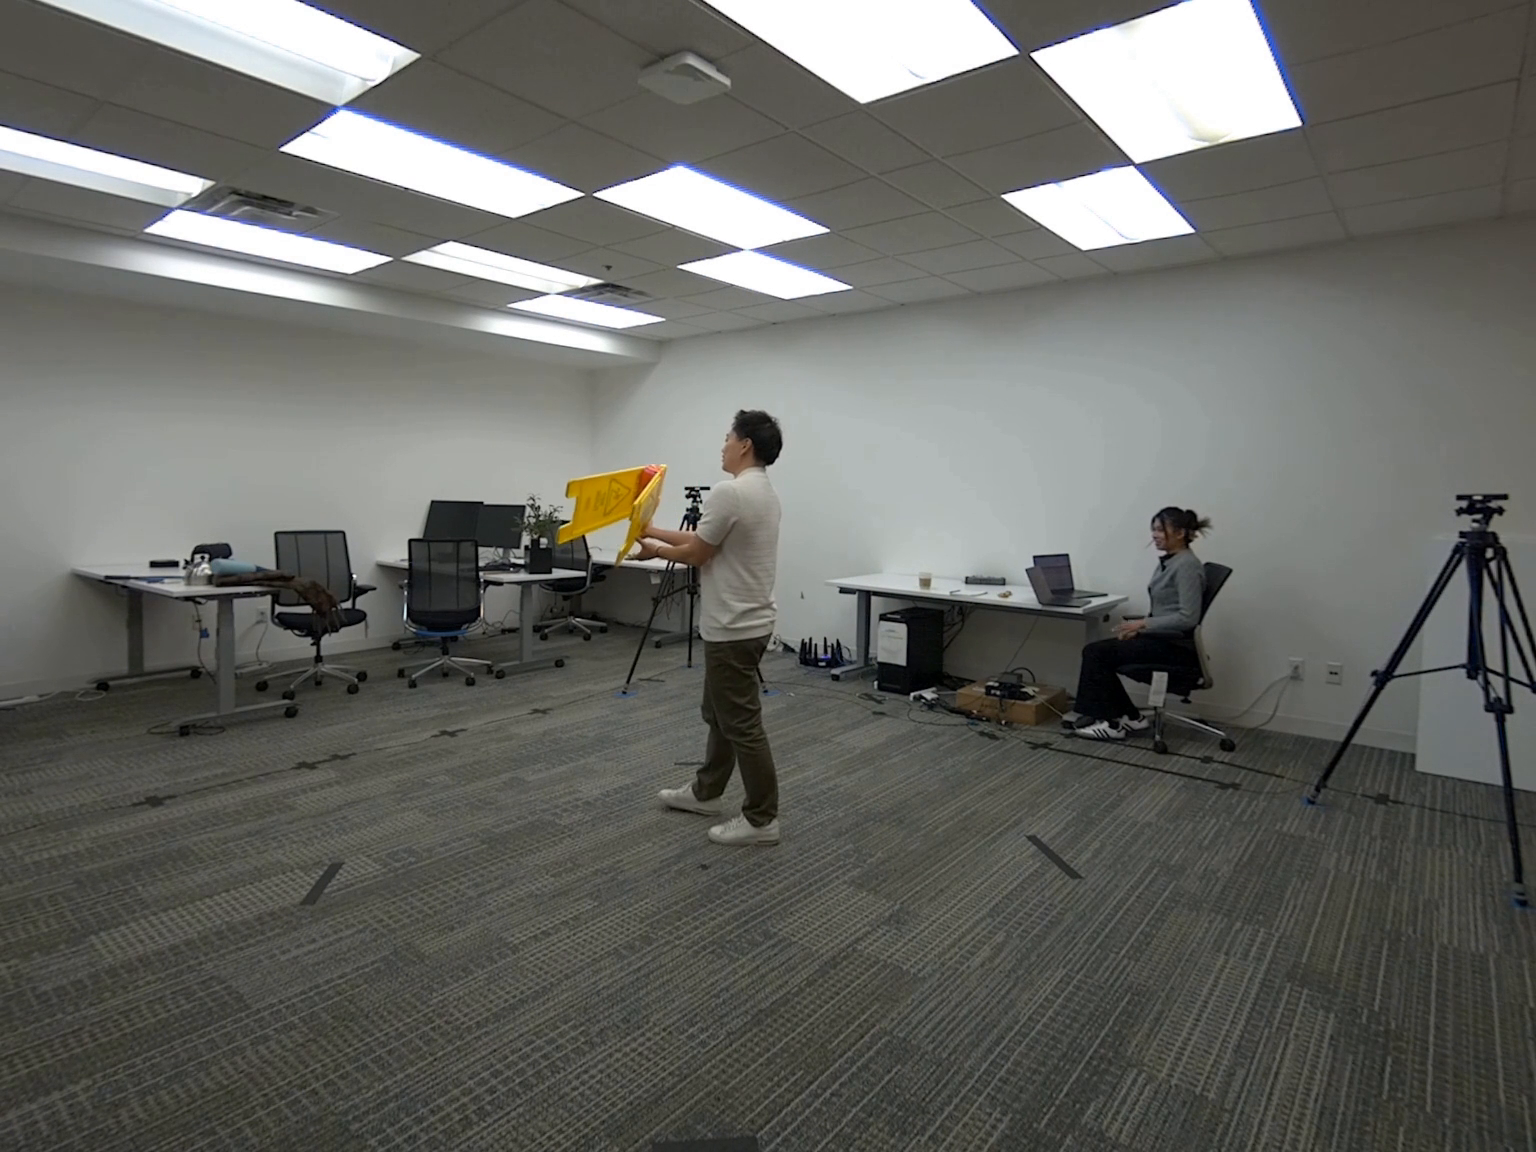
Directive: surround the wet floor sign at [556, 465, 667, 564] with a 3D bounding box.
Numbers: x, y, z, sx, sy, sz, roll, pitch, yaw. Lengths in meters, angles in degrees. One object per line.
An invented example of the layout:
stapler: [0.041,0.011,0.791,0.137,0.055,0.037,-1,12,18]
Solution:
wet floor sign: [-0.598,-0.310,3.582,0.294,0.278,0.645,20,25,11]
